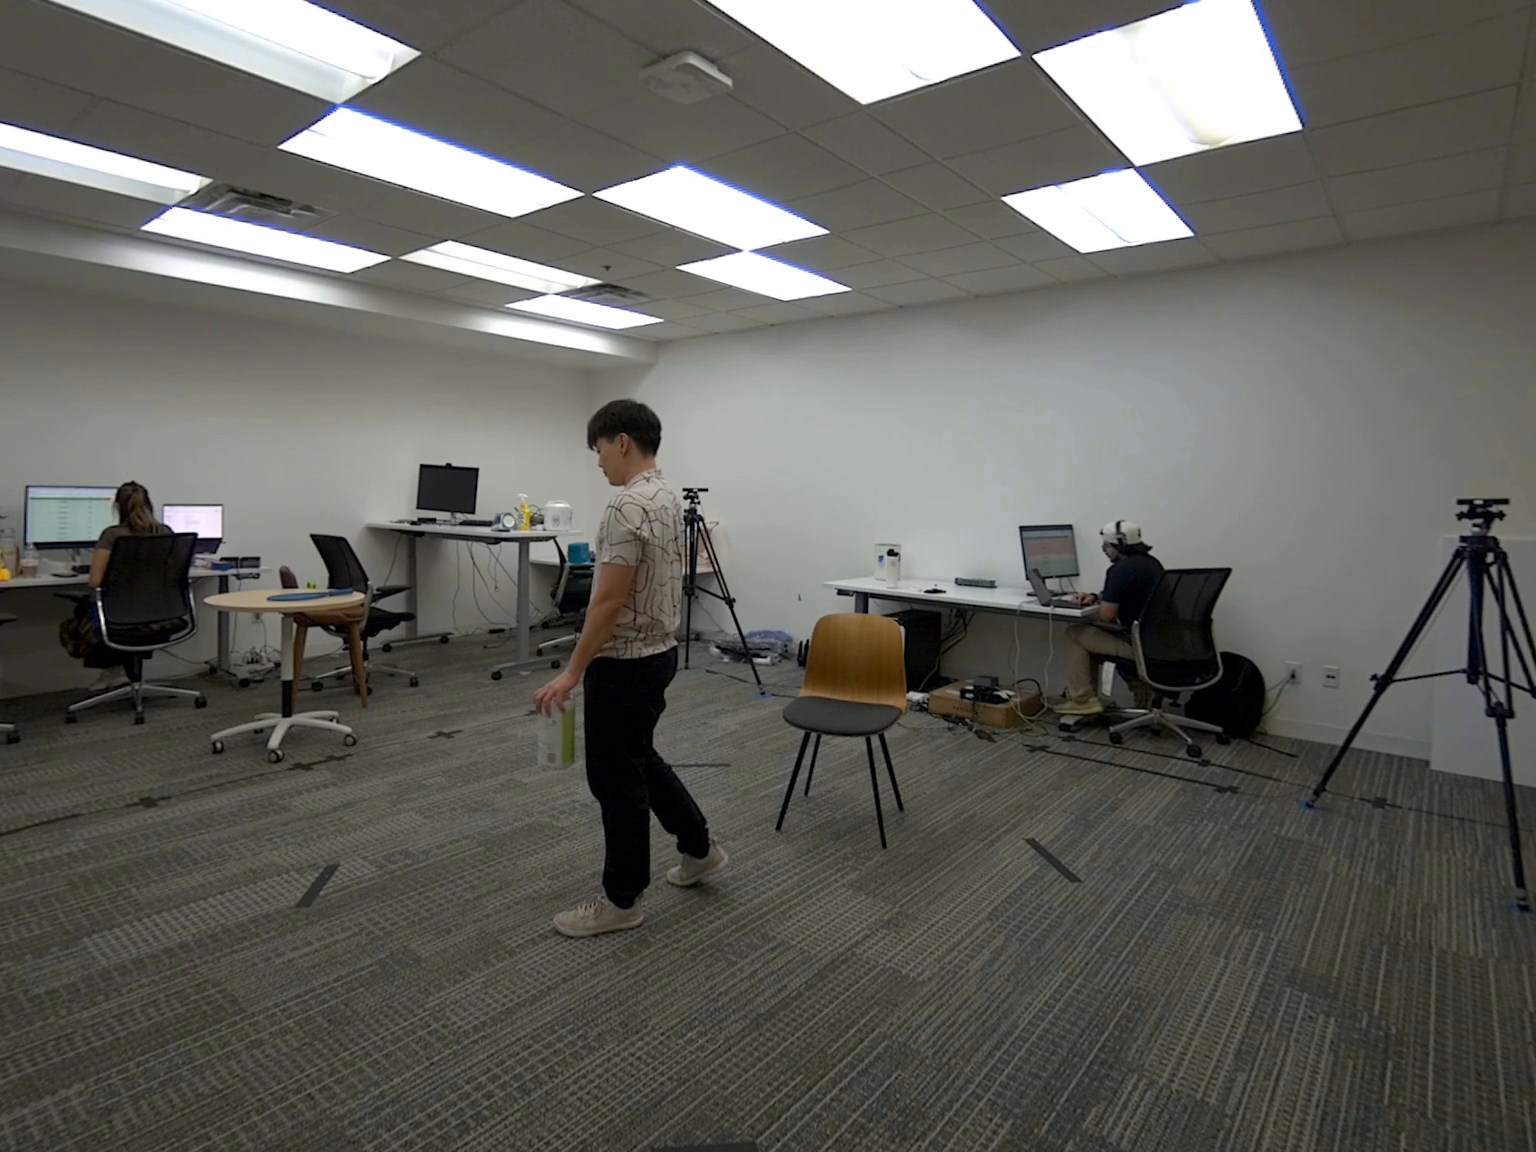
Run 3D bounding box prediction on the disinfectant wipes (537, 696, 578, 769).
[{"bbox_3d":[-0.626,0.463,2.526,0.117,0.215,0.119,1,10,-2],"label":"disinfectant wipes"}]
